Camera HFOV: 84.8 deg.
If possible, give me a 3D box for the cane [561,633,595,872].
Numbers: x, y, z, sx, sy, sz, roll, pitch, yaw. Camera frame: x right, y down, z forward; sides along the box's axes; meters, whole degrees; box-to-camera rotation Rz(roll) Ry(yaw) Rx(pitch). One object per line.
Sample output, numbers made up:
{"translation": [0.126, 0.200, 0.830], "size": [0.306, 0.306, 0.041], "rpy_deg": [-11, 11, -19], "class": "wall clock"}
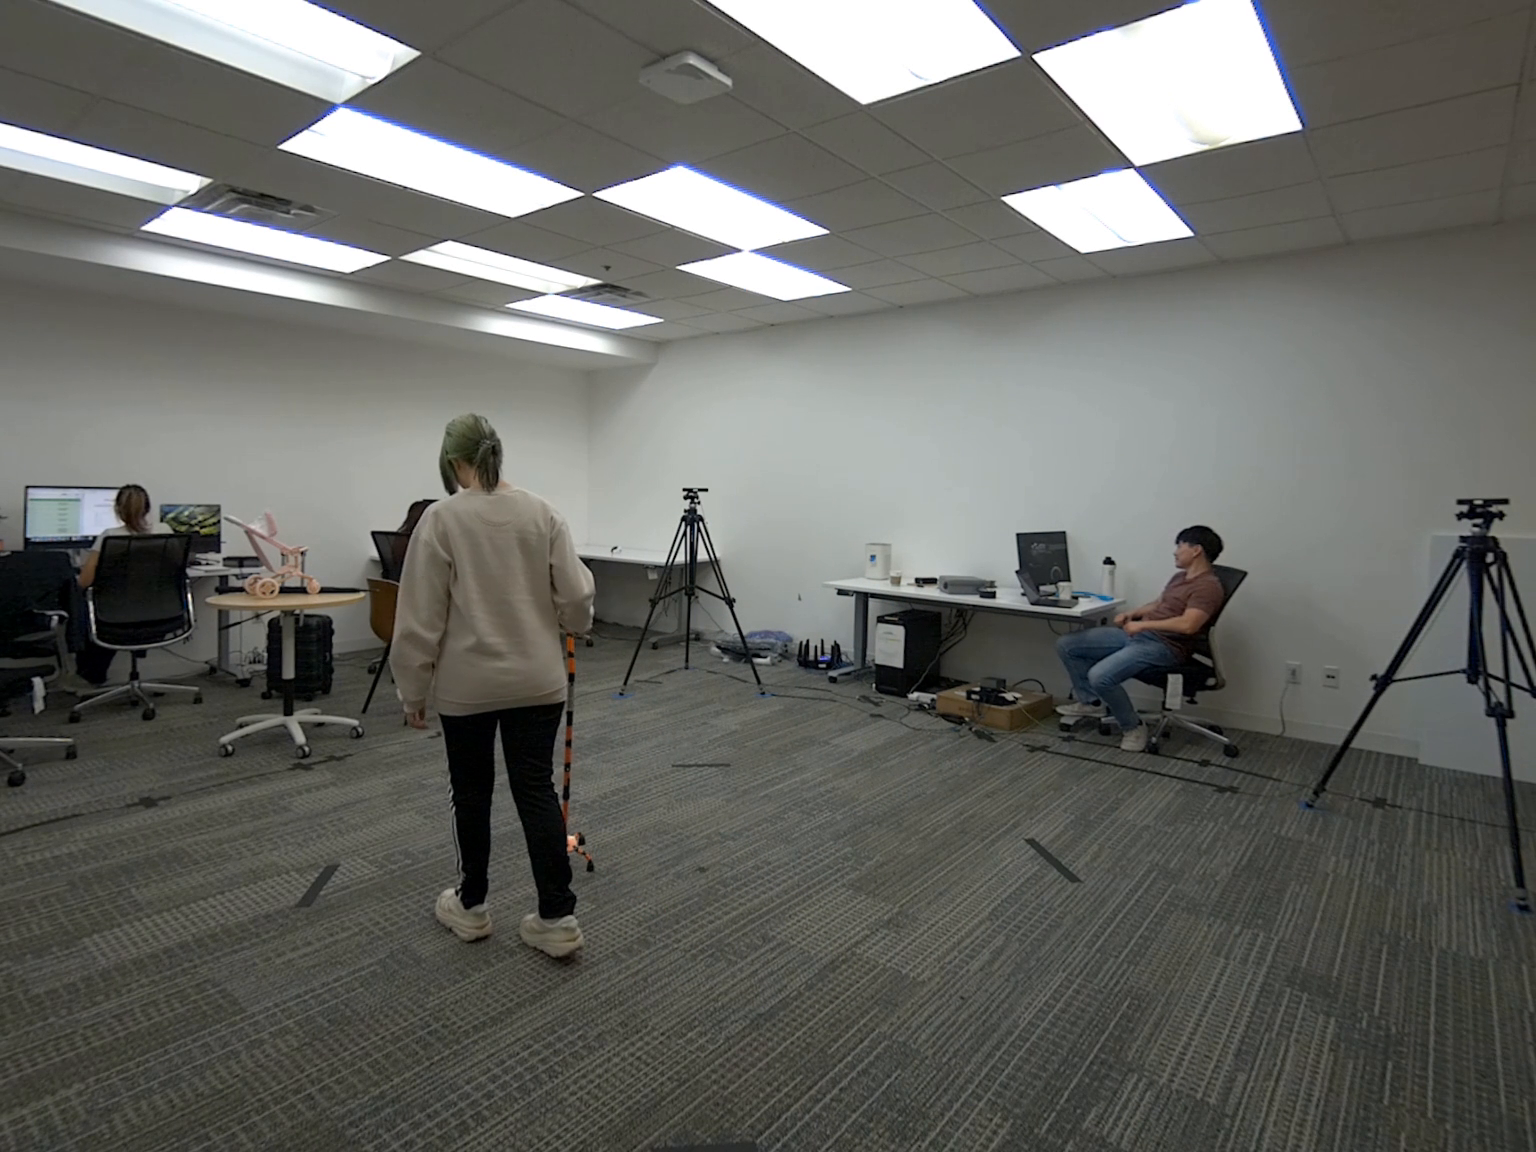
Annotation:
{"translation": [-0.696, 0.591, 3.001], "size": [0.148, 0.900, 0.213], "rpy_deg": [0, 10, -23], "class": "cane"}
